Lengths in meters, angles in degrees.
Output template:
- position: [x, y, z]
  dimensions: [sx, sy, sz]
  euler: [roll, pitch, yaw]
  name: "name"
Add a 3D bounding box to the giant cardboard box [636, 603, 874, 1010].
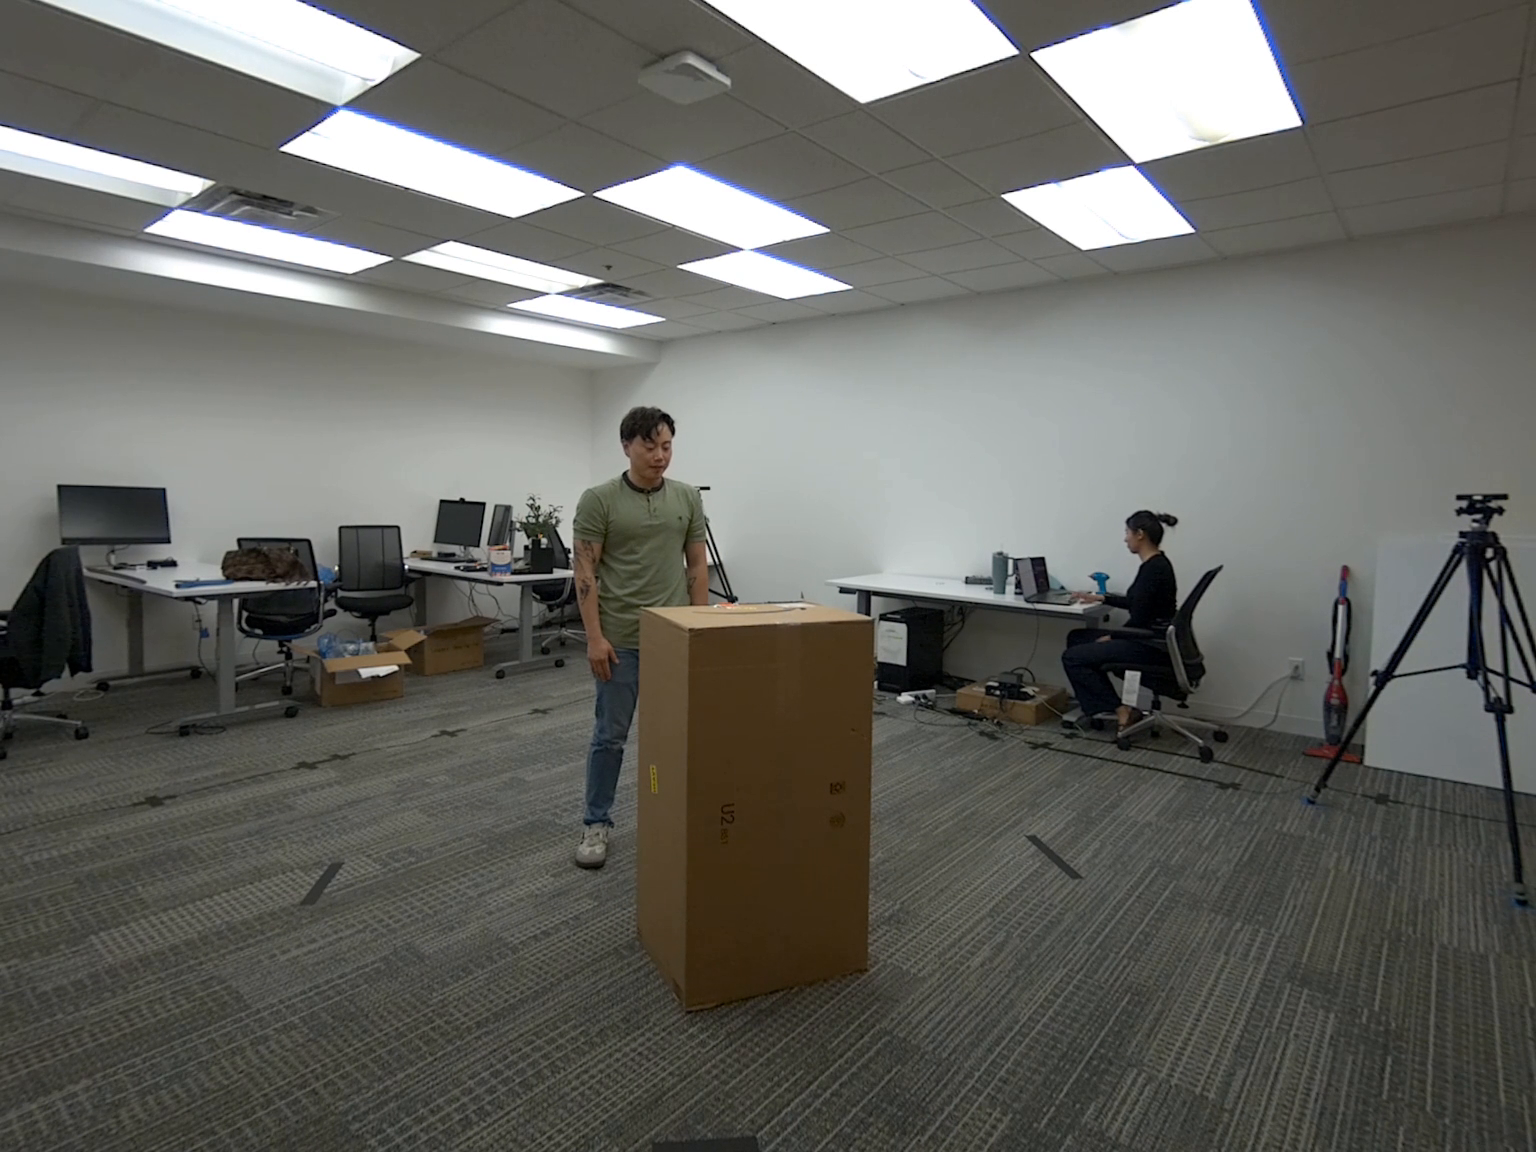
- position: [-0.052, 0.615, 2.522]
  dimensions: [0.564, 1.023, 0.438]
  euler: [-1, 4, -26]
  name: "giant cardboard box"
